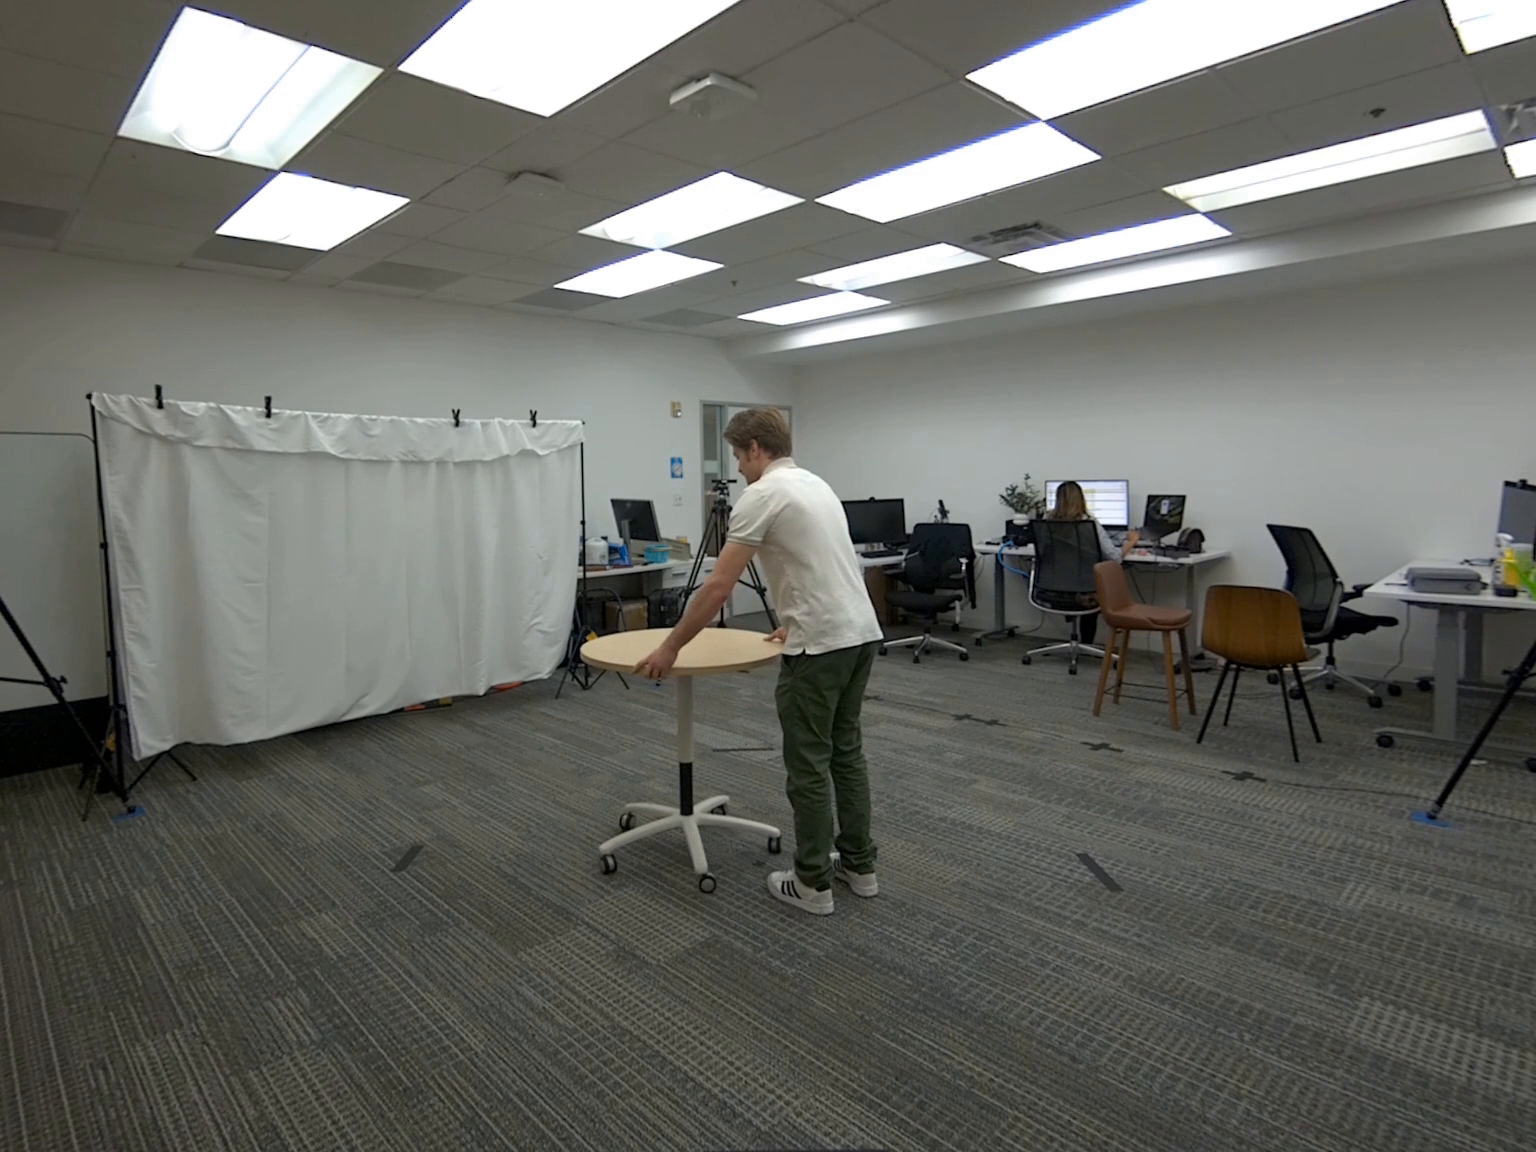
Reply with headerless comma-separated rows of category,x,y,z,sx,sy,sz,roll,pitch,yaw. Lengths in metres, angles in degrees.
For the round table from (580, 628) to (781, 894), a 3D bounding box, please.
round table,-0.311,0.651,3.215,0.763,0.791,0.767,-1,4,-2
